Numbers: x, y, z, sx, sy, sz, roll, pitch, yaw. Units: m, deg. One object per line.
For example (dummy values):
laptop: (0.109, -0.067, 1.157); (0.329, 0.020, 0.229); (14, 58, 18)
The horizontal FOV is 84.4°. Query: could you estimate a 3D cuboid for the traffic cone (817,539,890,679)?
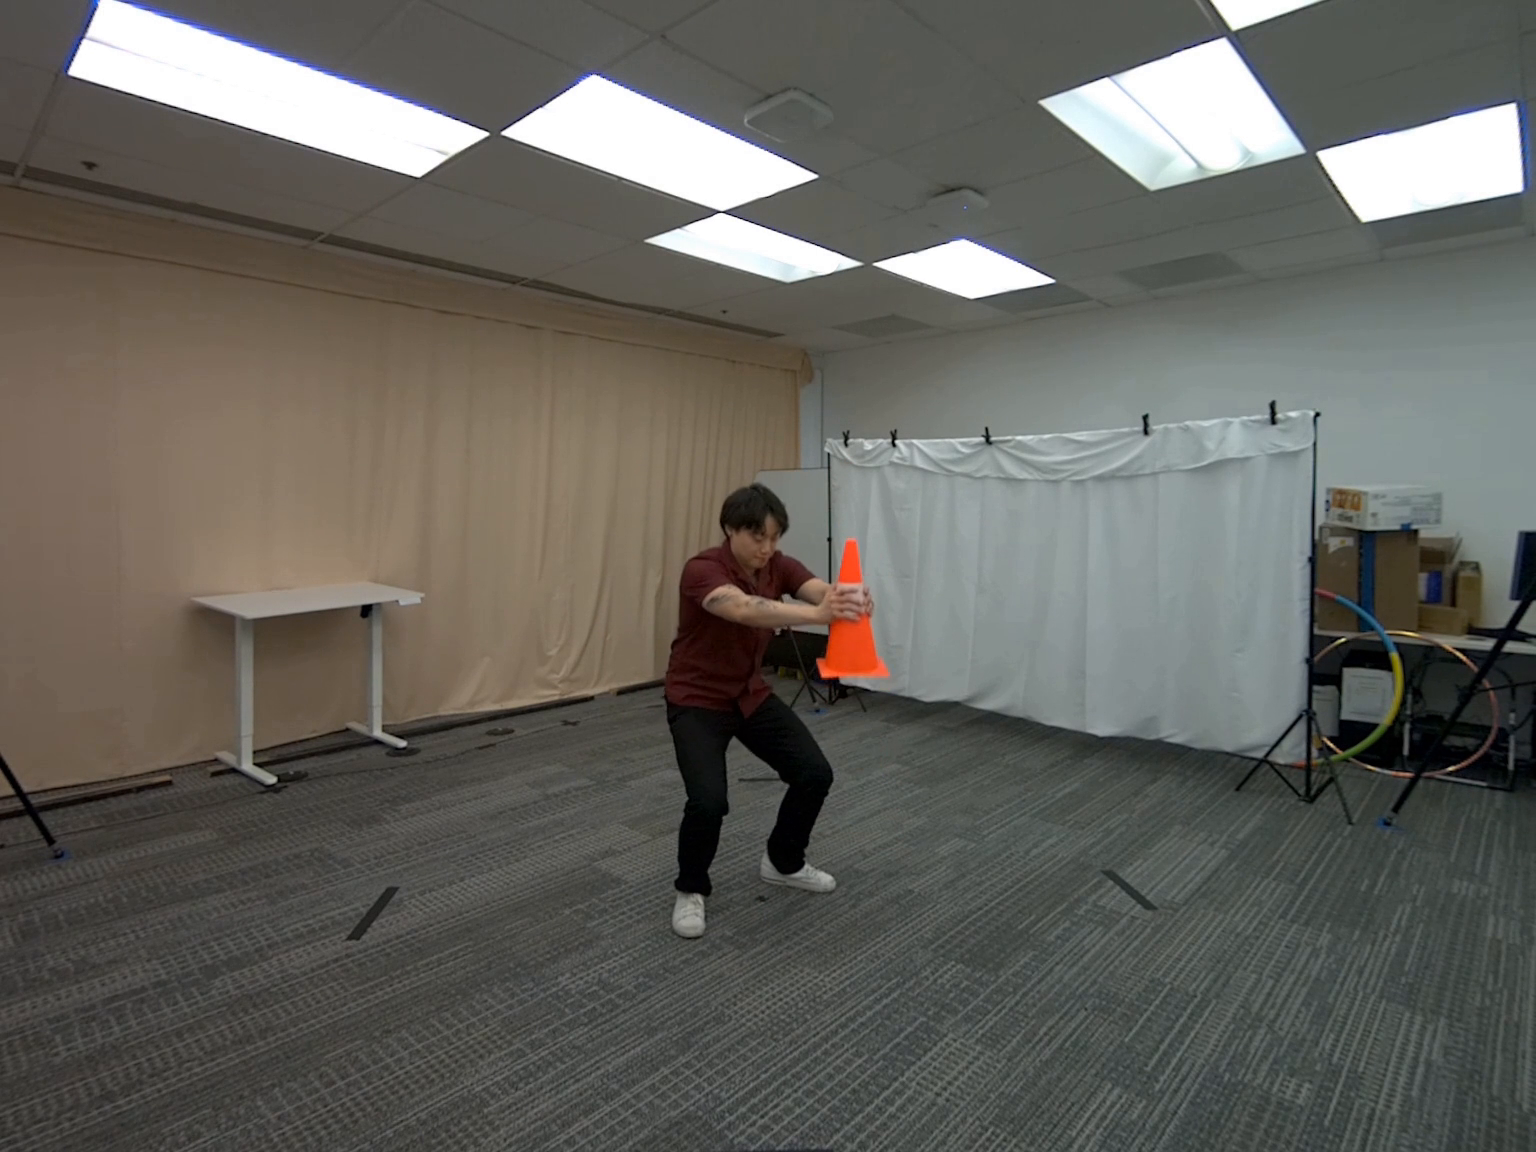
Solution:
traffic cone: (0.255, 0.091, 2.471); (0.205, 0.382, 0.204); (-1, 7, 1)
